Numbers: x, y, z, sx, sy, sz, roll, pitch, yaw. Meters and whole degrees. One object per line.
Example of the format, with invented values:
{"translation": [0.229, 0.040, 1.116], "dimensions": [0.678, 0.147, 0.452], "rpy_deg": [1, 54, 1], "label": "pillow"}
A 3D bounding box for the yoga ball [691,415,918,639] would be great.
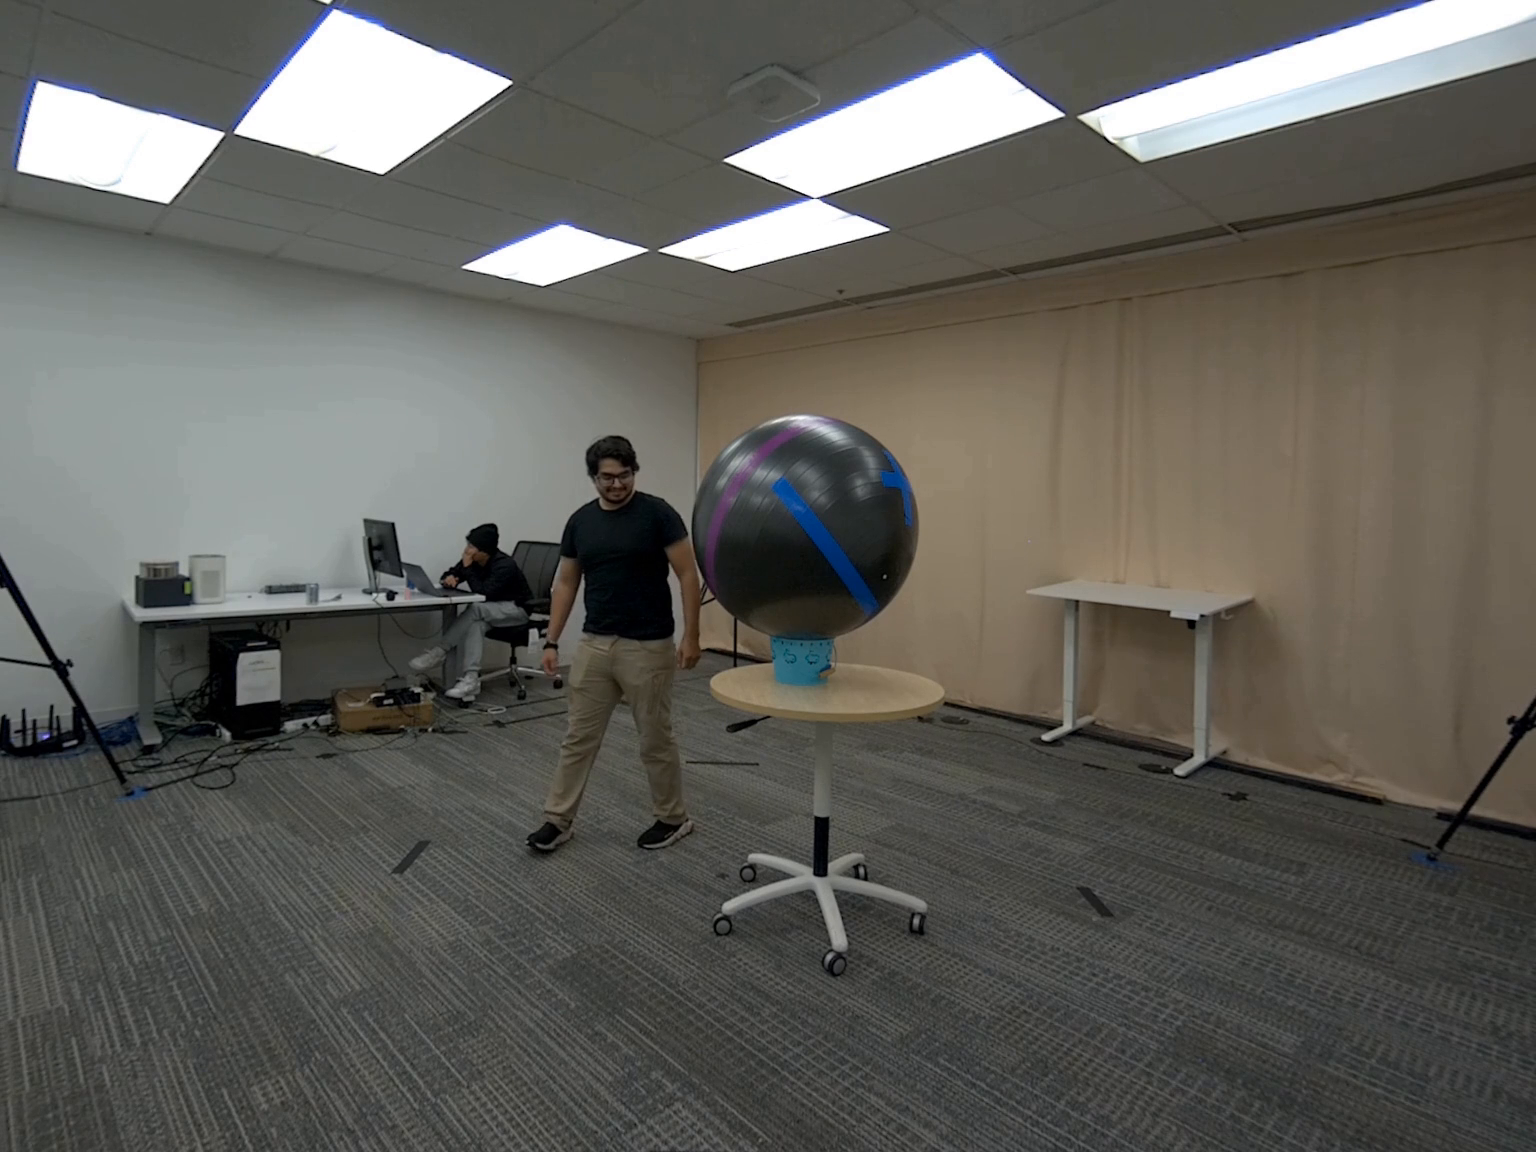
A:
{"translation": [0.116, -0.156, 2.832], "dimensions": [0.757, 0.756, 0.761], "rpy_deg": [1, 4, -1], "label": "yoga ball"}
